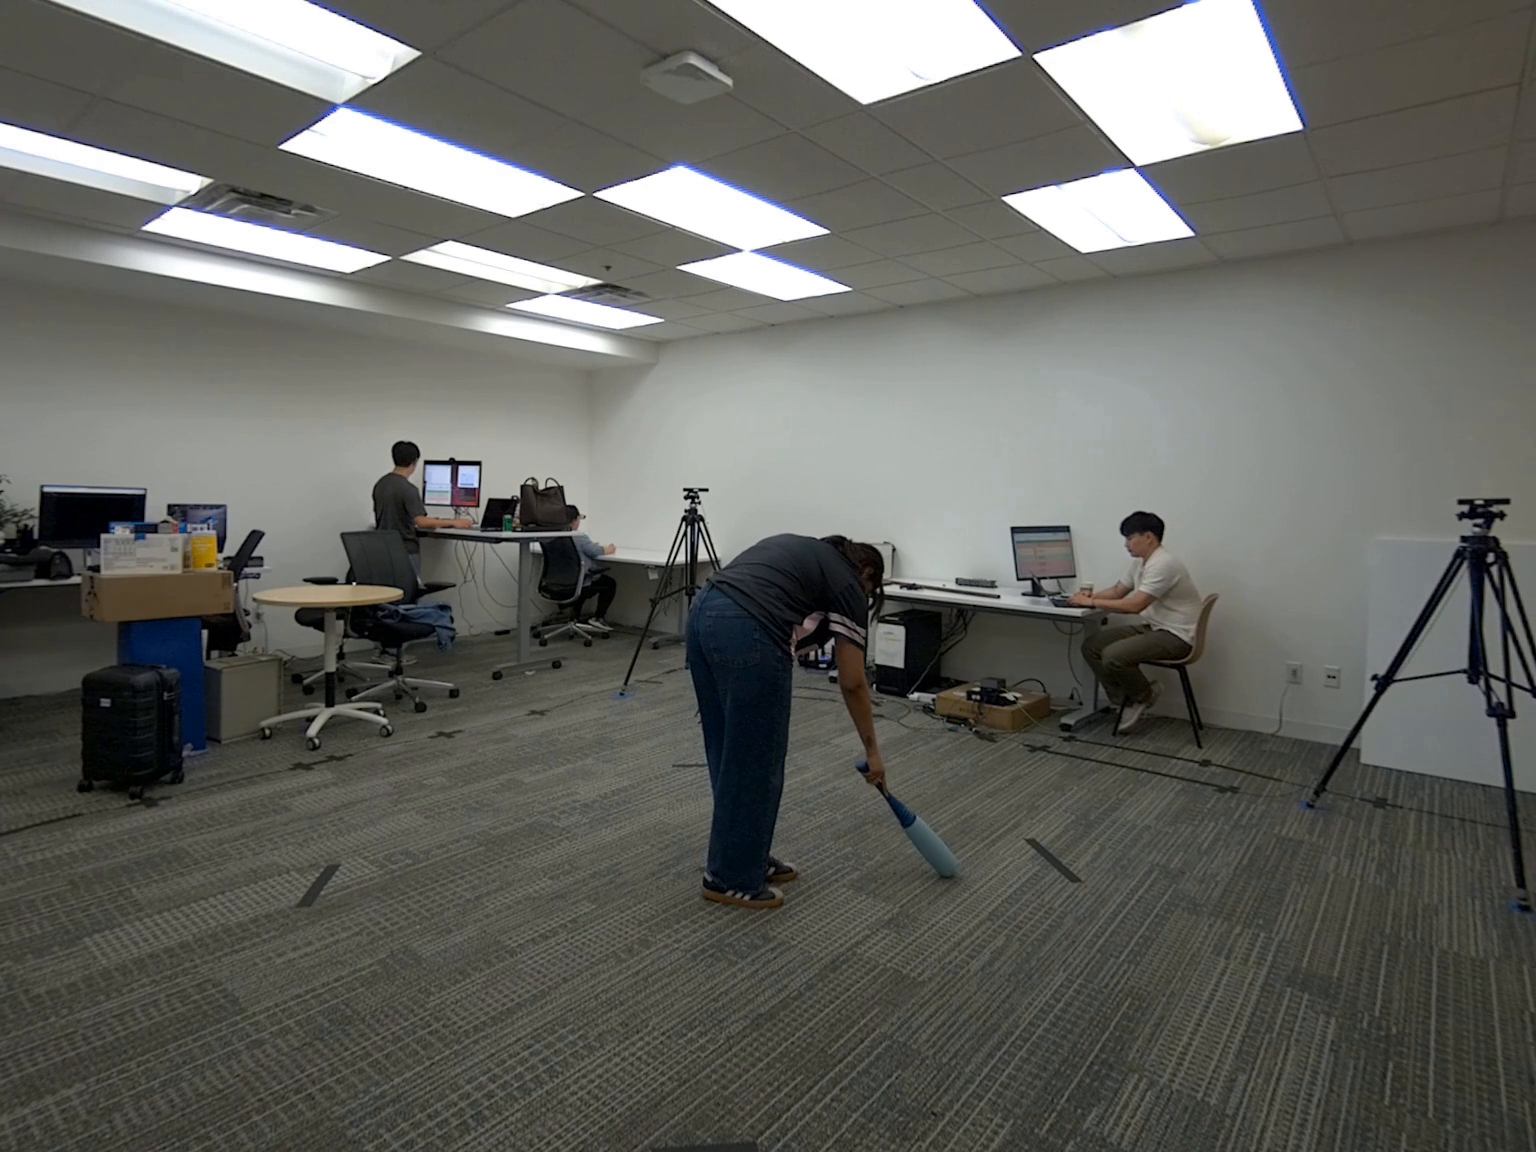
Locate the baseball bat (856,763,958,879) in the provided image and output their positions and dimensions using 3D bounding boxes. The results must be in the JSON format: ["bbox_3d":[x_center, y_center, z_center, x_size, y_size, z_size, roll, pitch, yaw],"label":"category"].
[{"bbox_3d":[0.486,0.874,3.071,0.089,0.536,0.090,-40,9,7],"label":"baseball bat"}]
